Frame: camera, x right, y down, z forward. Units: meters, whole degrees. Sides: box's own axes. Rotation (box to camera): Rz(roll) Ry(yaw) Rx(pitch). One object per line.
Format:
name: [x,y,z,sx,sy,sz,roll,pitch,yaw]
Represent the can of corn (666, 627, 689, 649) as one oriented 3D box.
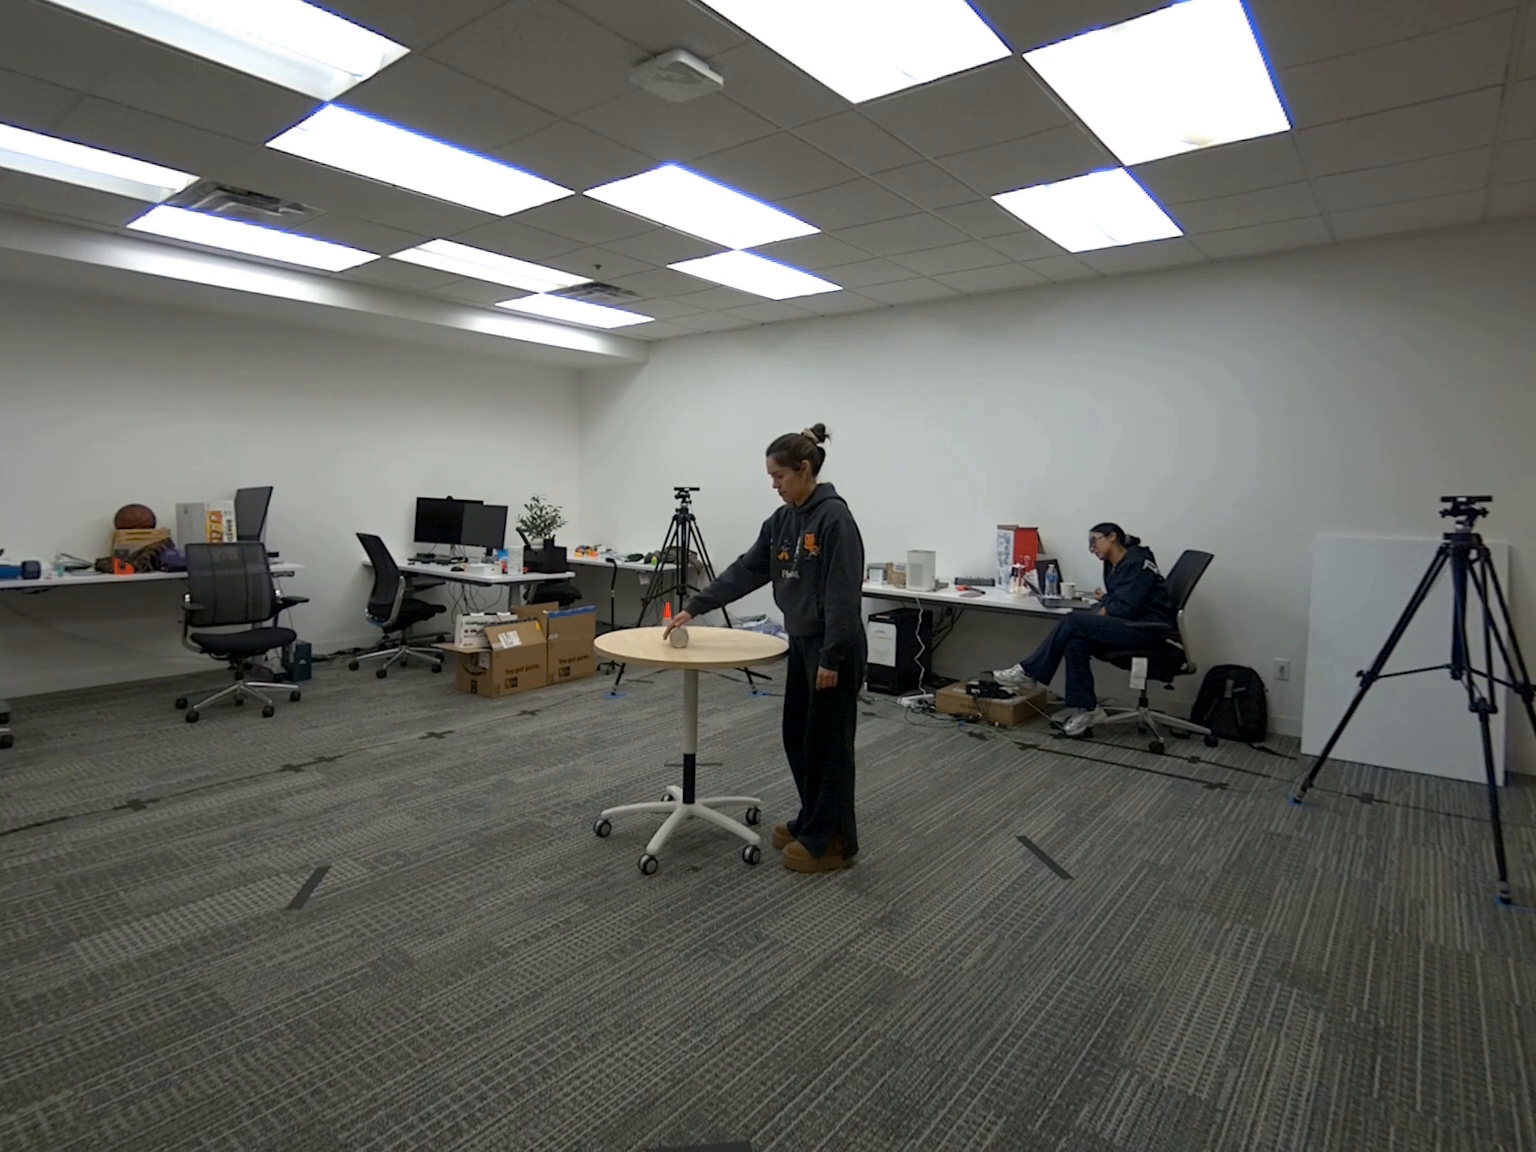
can of corn: [-0.338,0.227,3.294,0.074,0.074,0.112,0,7,-5]
